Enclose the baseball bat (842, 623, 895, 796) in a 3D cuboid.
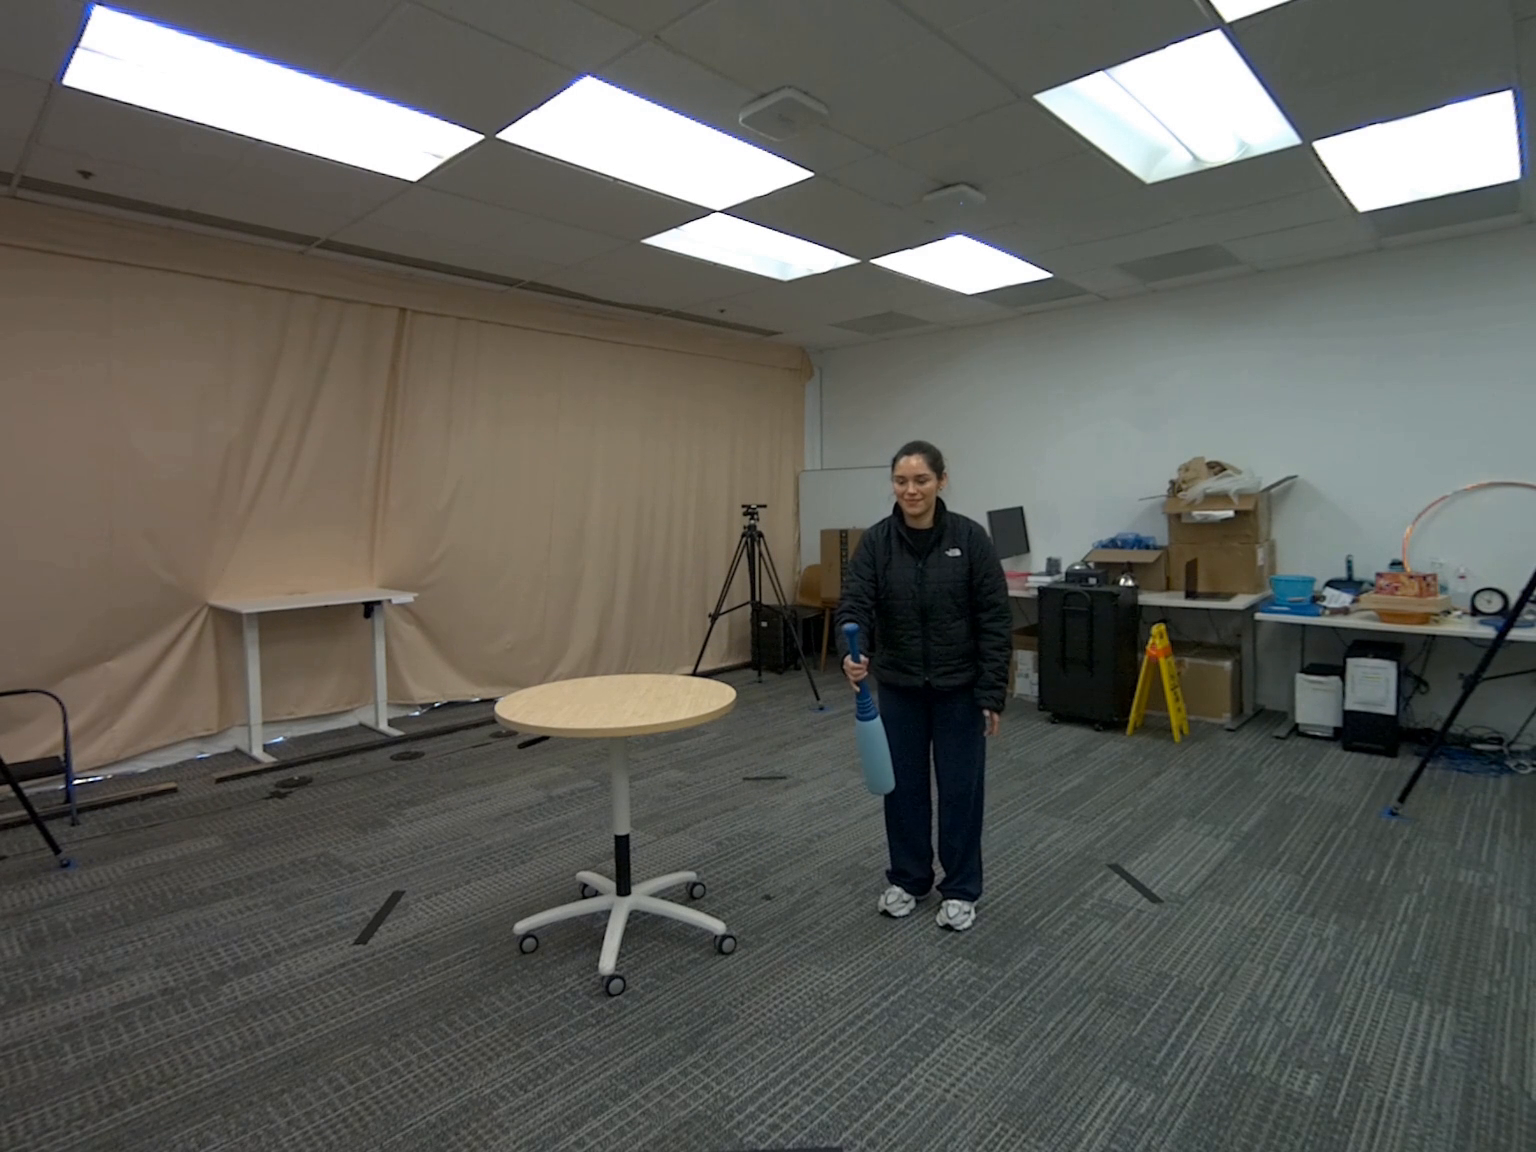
[{"bbox_3d":[0.299,0.375,2.469,0.089,0.537,0.090,-11,13,1],"label":"baseball bat"}]
